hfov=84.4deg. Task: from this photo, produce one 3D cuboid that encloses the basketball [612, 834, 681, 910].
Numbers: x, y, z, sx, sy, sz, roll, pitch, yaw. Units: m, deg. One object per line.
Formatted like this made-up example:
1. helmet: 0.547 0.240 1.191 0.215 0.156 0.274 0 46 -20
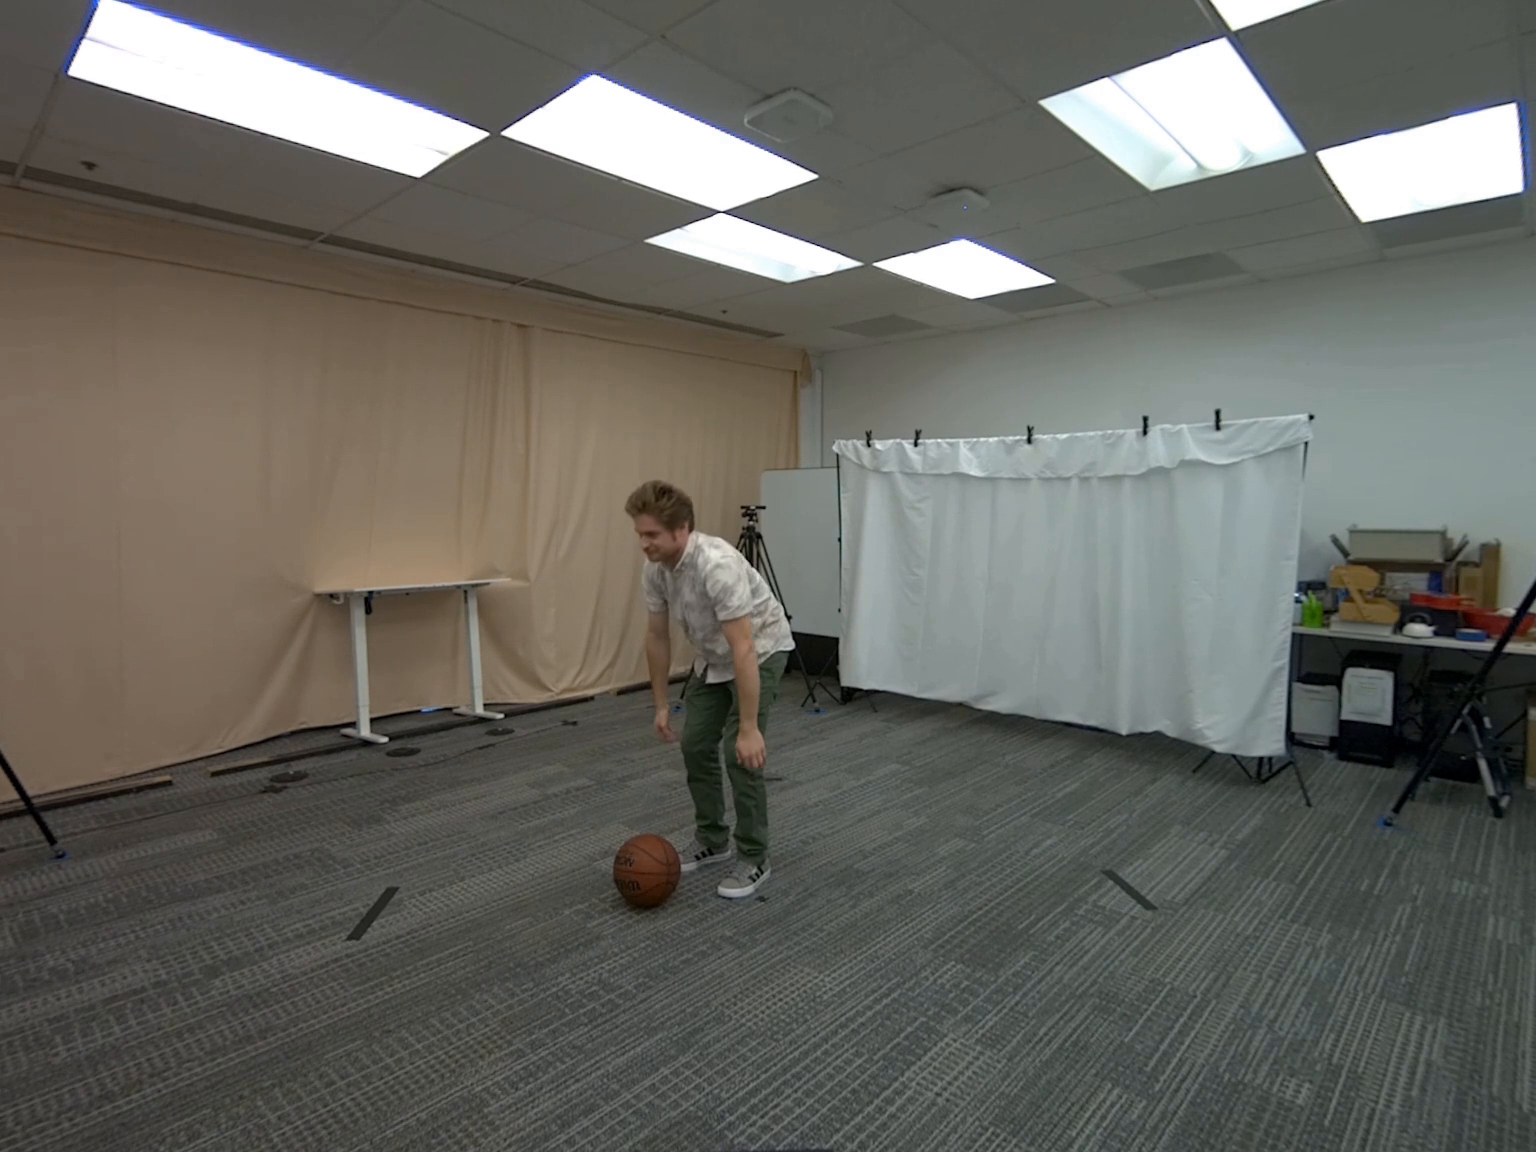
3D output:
1. basketball: -0.423 1.026 2.950 0.236 0.235 0.237 0 4 -2
